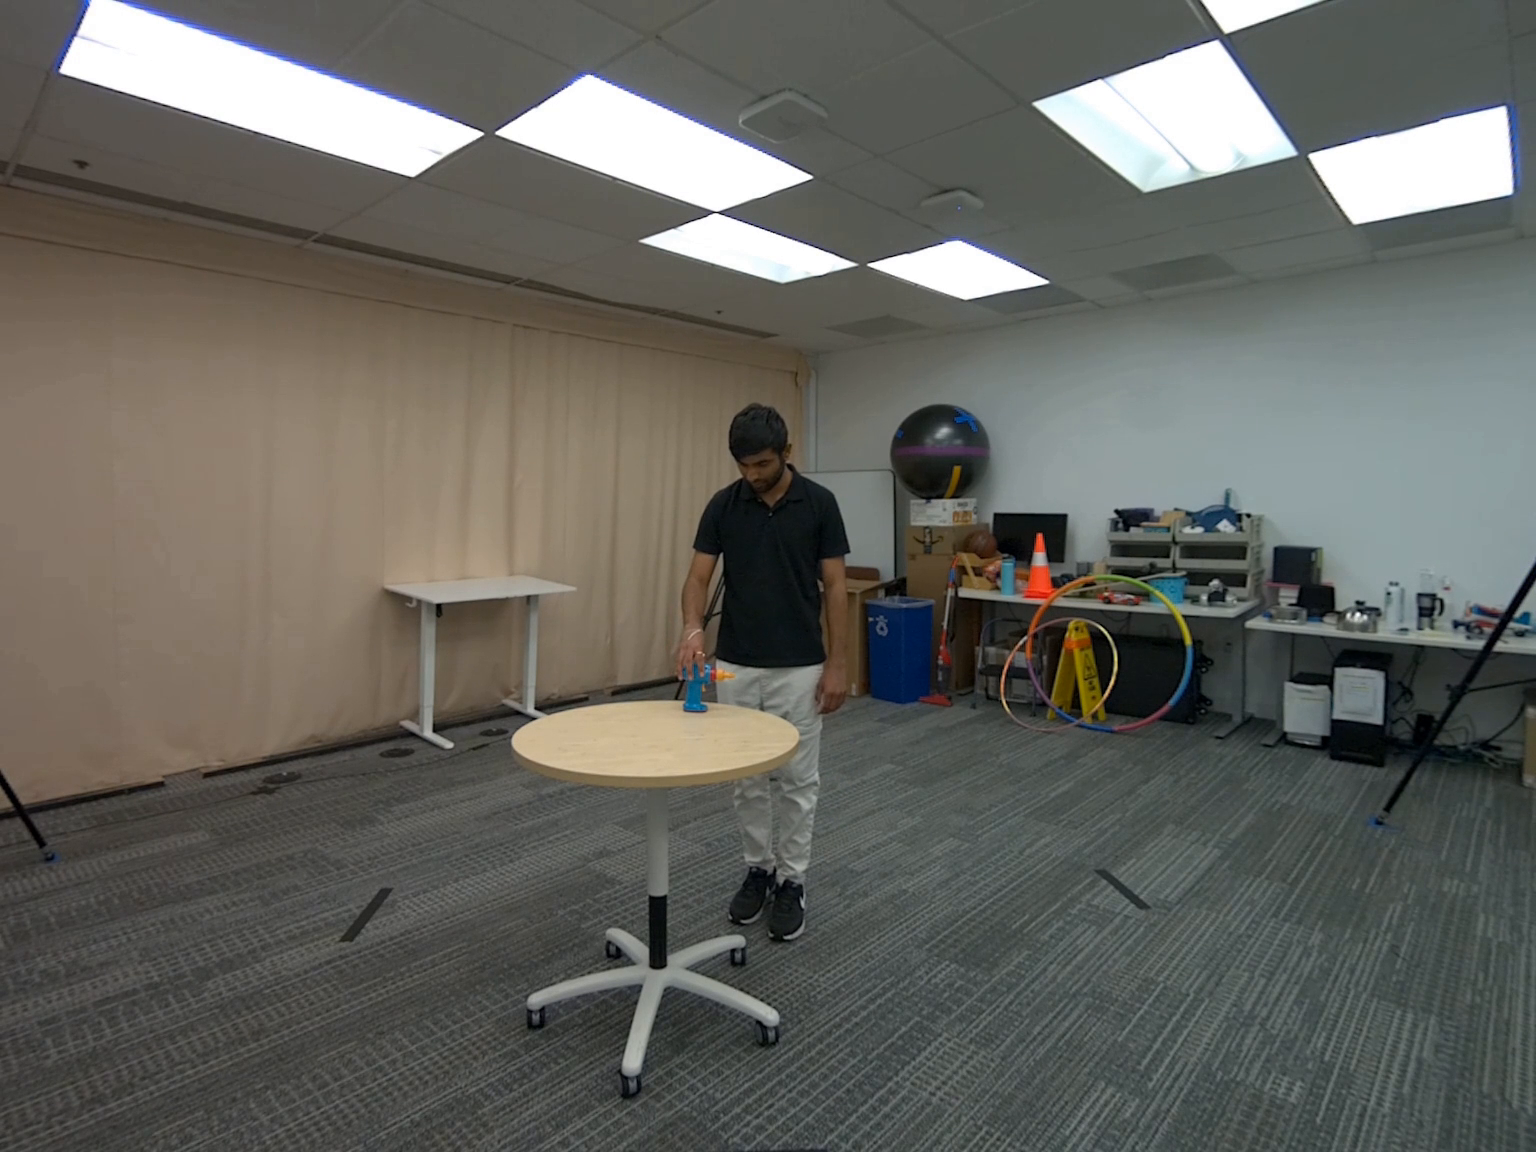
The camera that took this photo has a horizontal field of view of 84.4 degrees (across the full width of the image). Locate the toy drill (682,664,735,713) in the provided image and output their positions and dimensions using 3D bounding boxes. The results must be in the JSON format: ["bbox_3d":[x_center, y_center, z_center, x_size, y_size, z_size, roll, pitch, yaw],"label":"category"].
[{"bbox_3d":[-0.176,0.336,2.502,0.172,0.146,0.060,1,1,13],"label":"toy drill"}]
